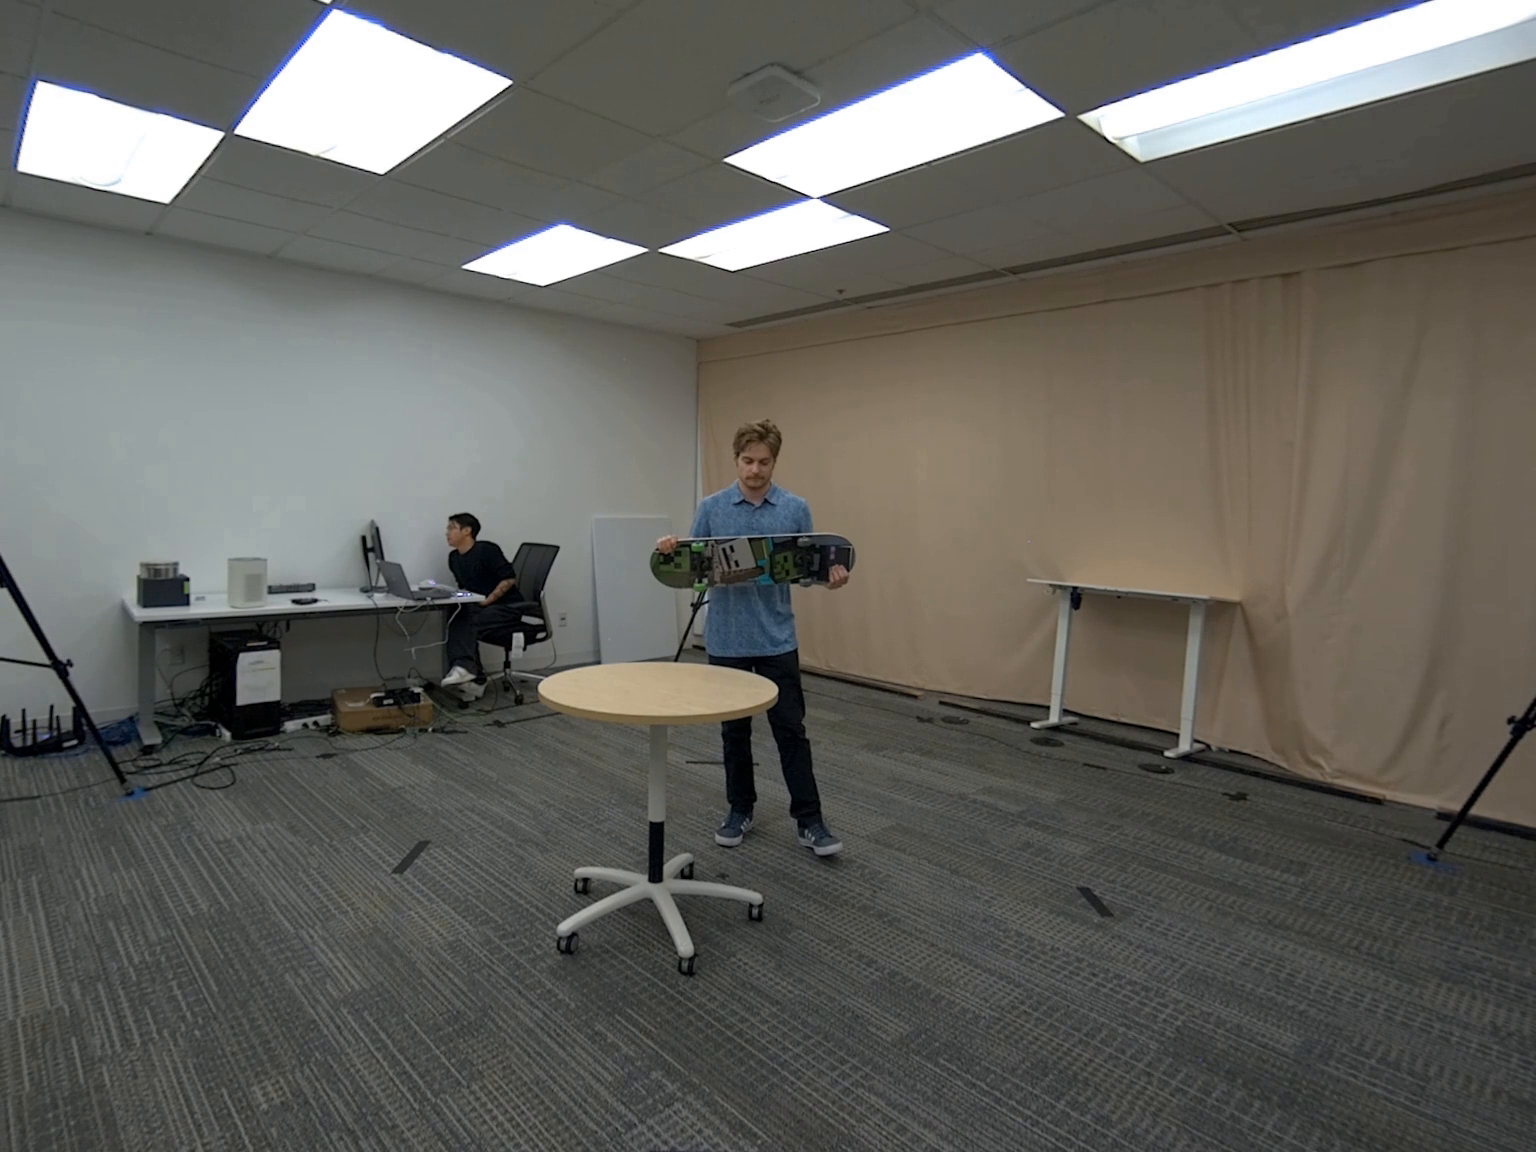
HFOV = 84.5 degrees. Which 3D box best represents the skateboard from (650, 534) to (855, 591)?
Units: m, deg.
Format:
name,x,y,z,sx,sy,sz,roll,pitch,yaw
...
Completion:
name,x,y,z,sx,sy,sz,roll,pitch,yaw
skateboard,-0.074,-0.051,3.183,0.787,0.192,0.111,-2,10,2
